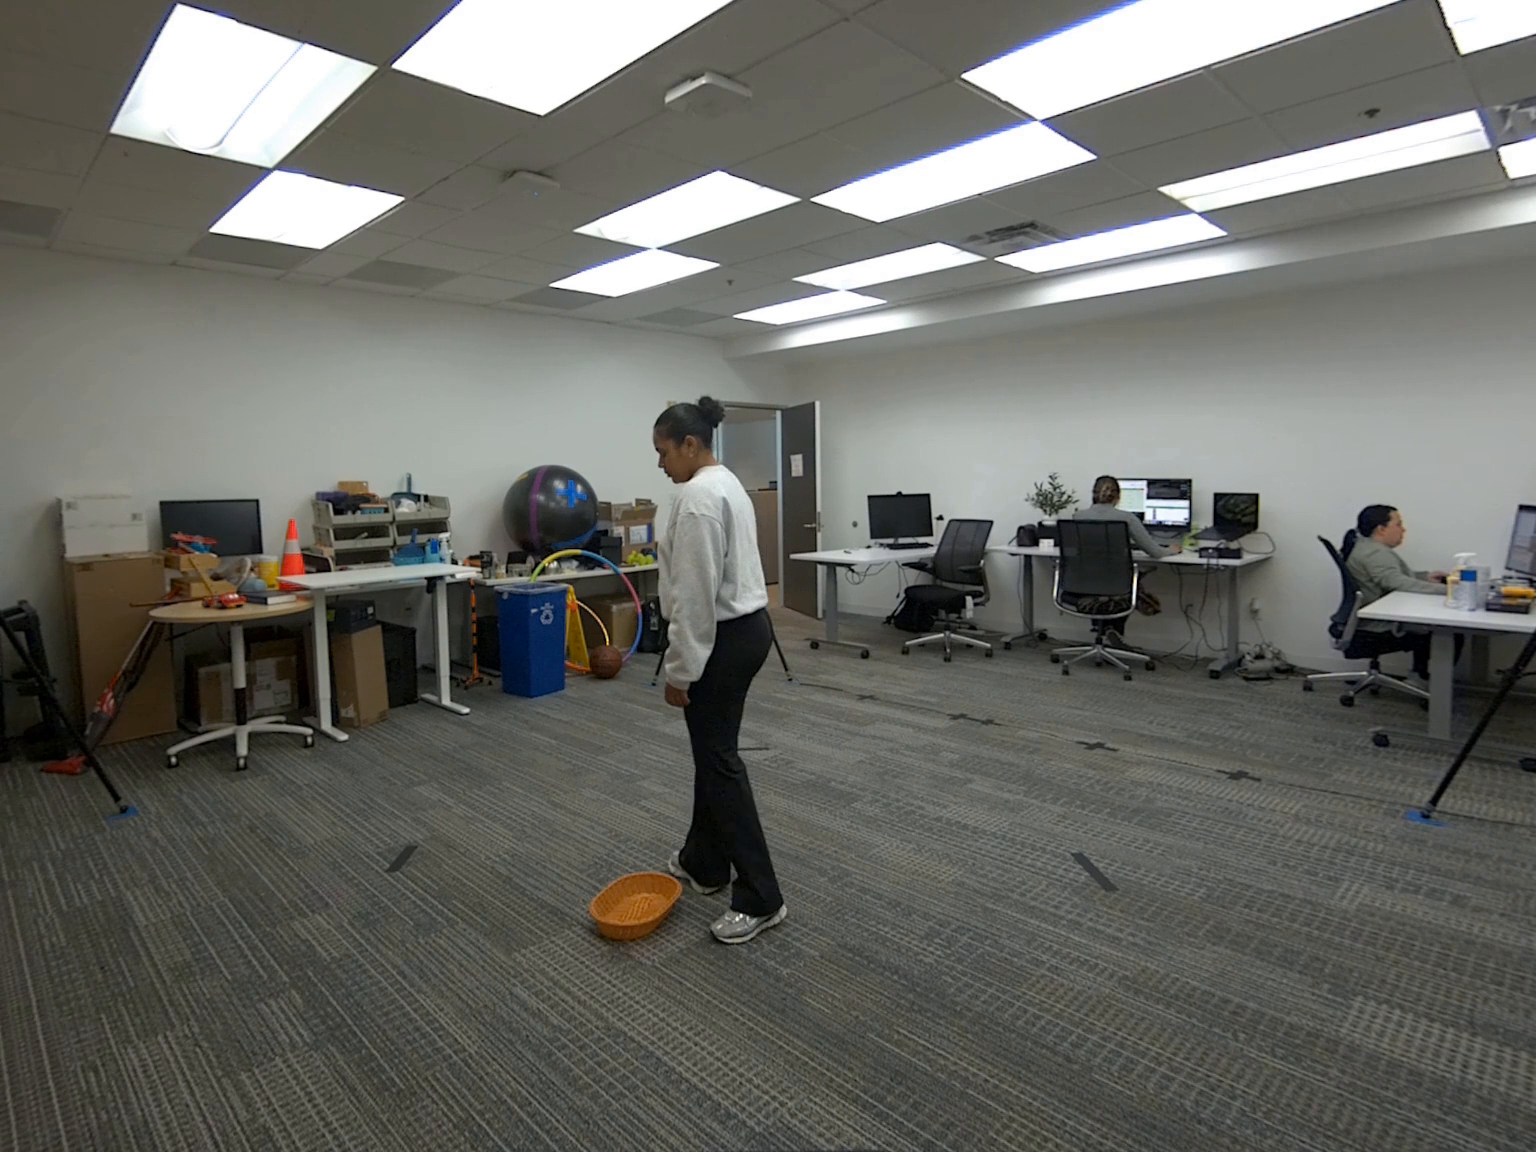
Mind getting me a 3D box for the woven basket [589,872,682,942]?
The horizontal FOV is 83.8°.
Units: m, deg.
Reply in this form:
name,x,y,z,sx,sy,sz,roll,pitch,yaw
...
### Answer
name,x,y,z,sx,sy,sz,roll,pitch,yaw
woven basket,-0.415,1.054,2.735,0.258,0.073,0.344,2,7,25
